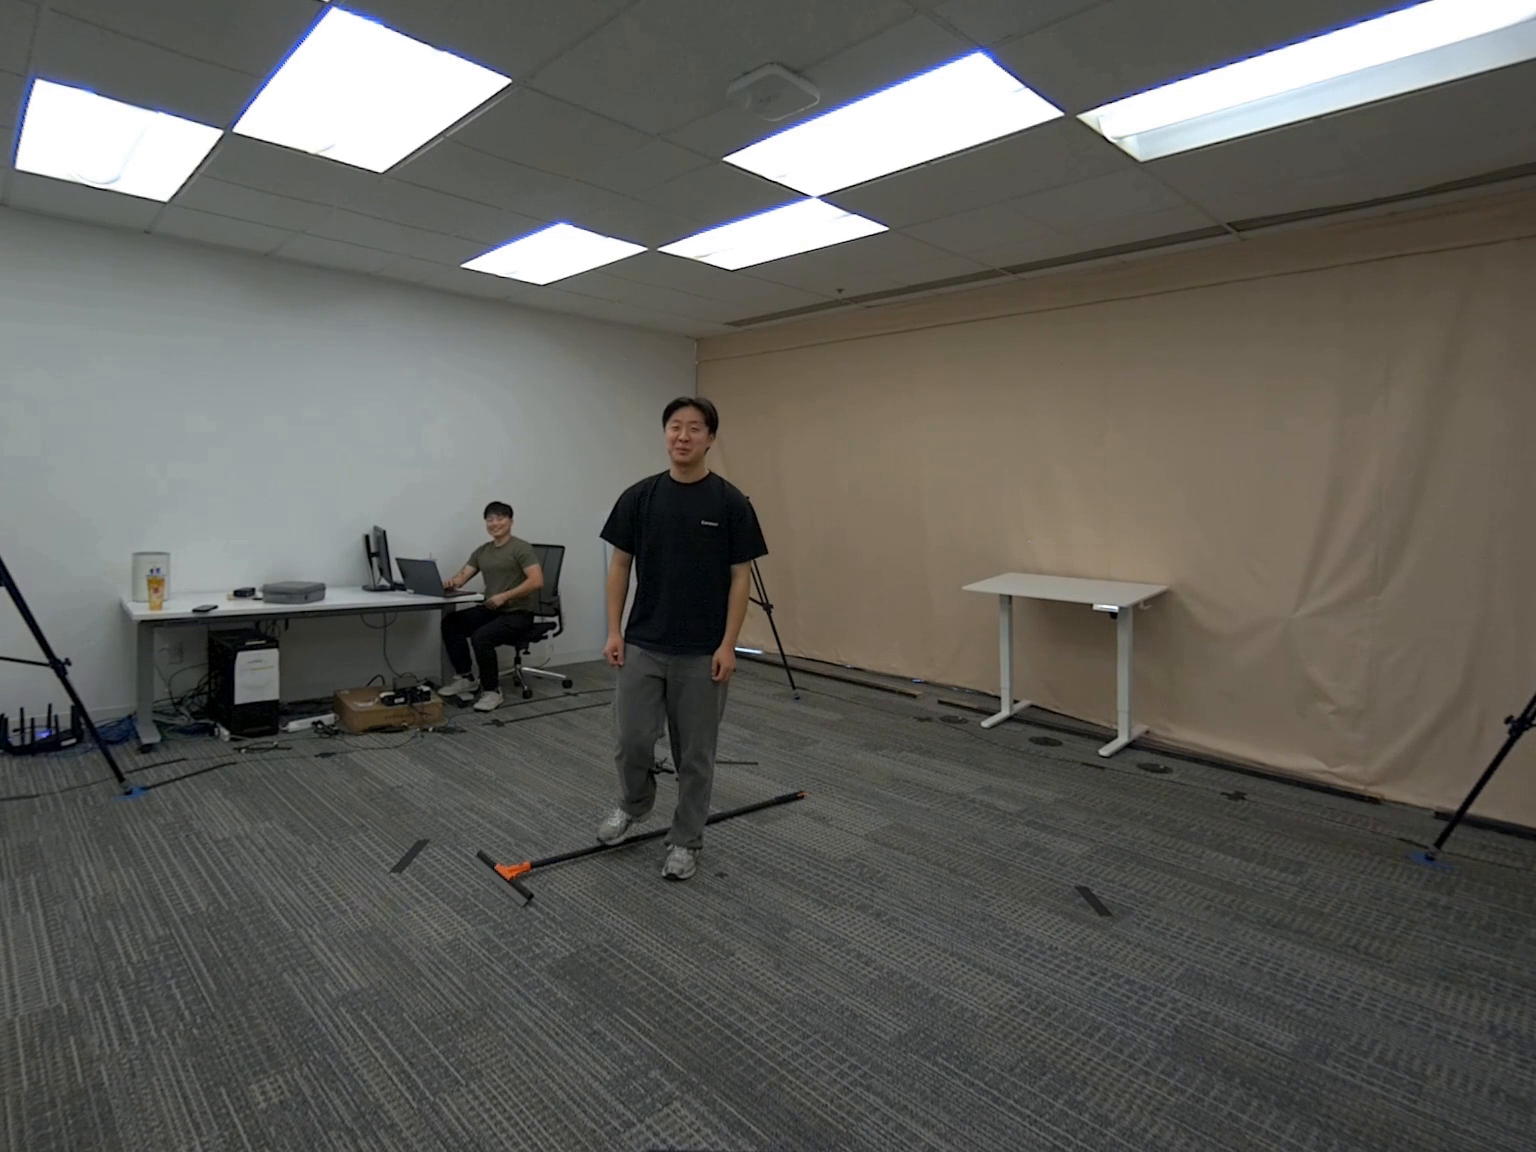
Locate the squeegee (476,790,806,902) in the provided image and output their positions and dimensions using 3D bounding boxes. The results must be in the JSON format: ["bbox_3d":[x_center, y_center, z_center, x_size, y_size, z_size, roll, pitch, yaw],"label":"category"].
[{"bbox_3d":[-0.402,1.032,3.470,1.502,0.053,0.449,-1,7,-40],"label":"squeegee"}]
